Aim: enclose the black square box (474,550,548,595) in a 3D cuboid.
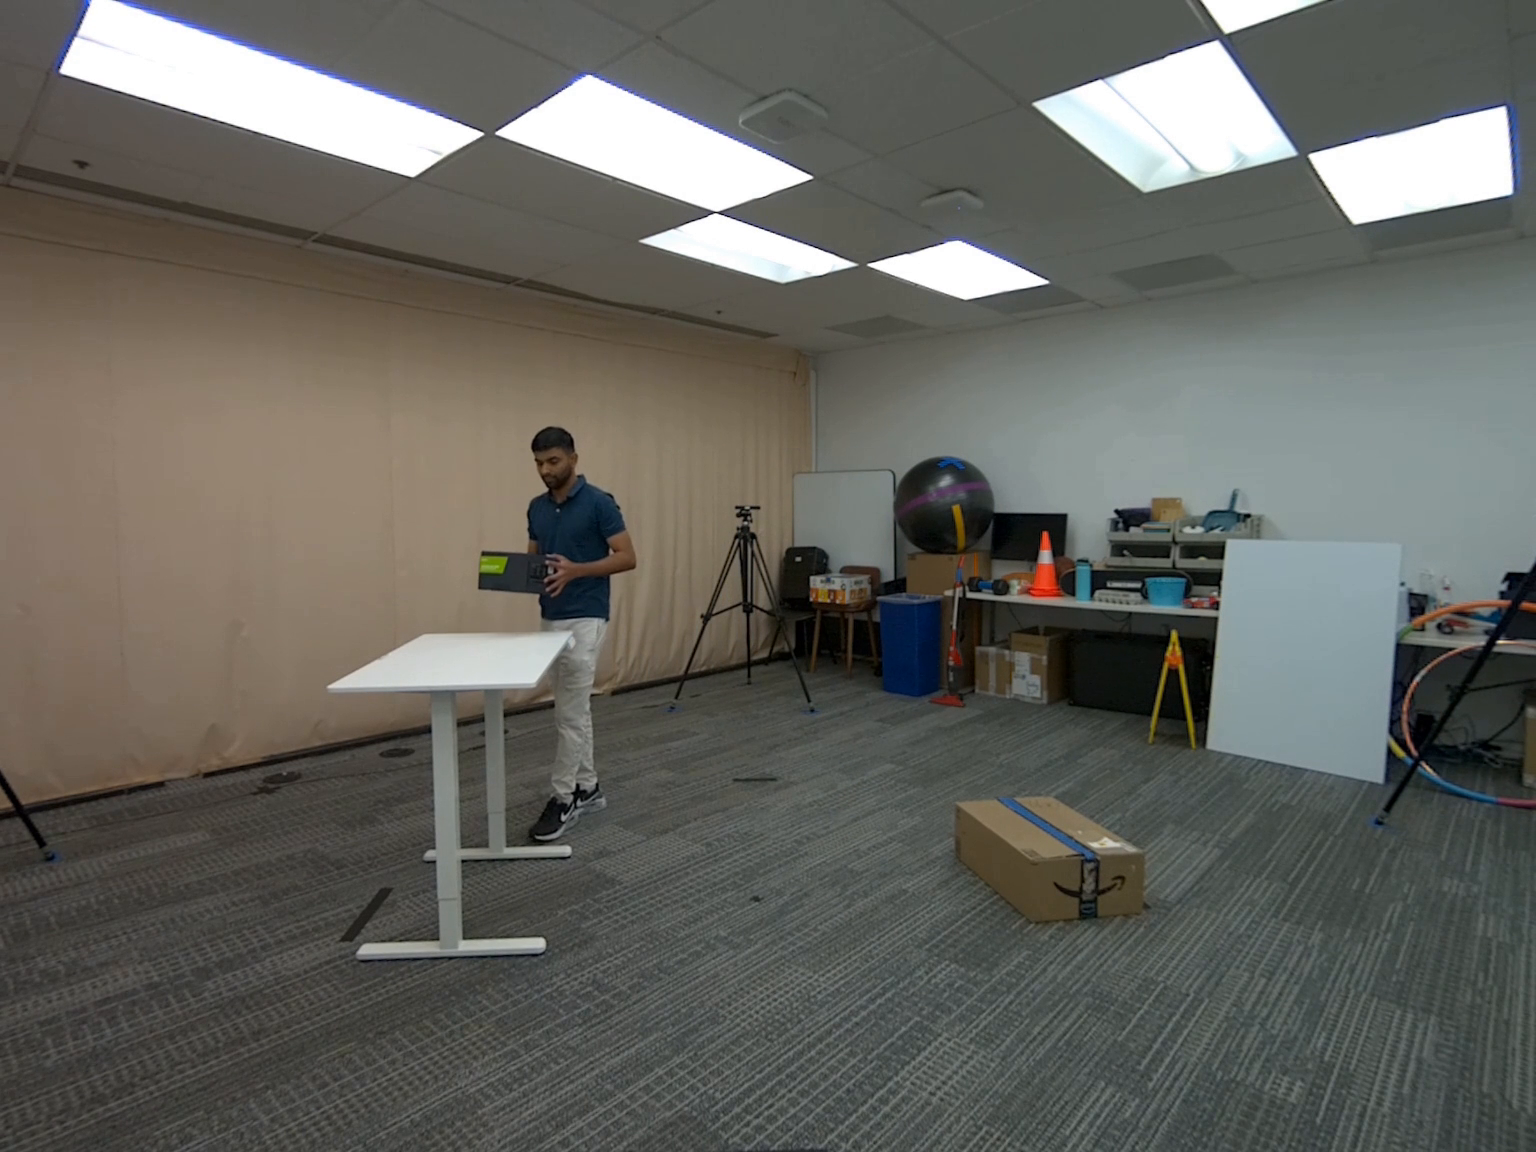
[{"bbox_3d":[-1.019,-0.013,3.422,0.233,0.156,0.212,3,-4,19],"label":"black square box"}]
